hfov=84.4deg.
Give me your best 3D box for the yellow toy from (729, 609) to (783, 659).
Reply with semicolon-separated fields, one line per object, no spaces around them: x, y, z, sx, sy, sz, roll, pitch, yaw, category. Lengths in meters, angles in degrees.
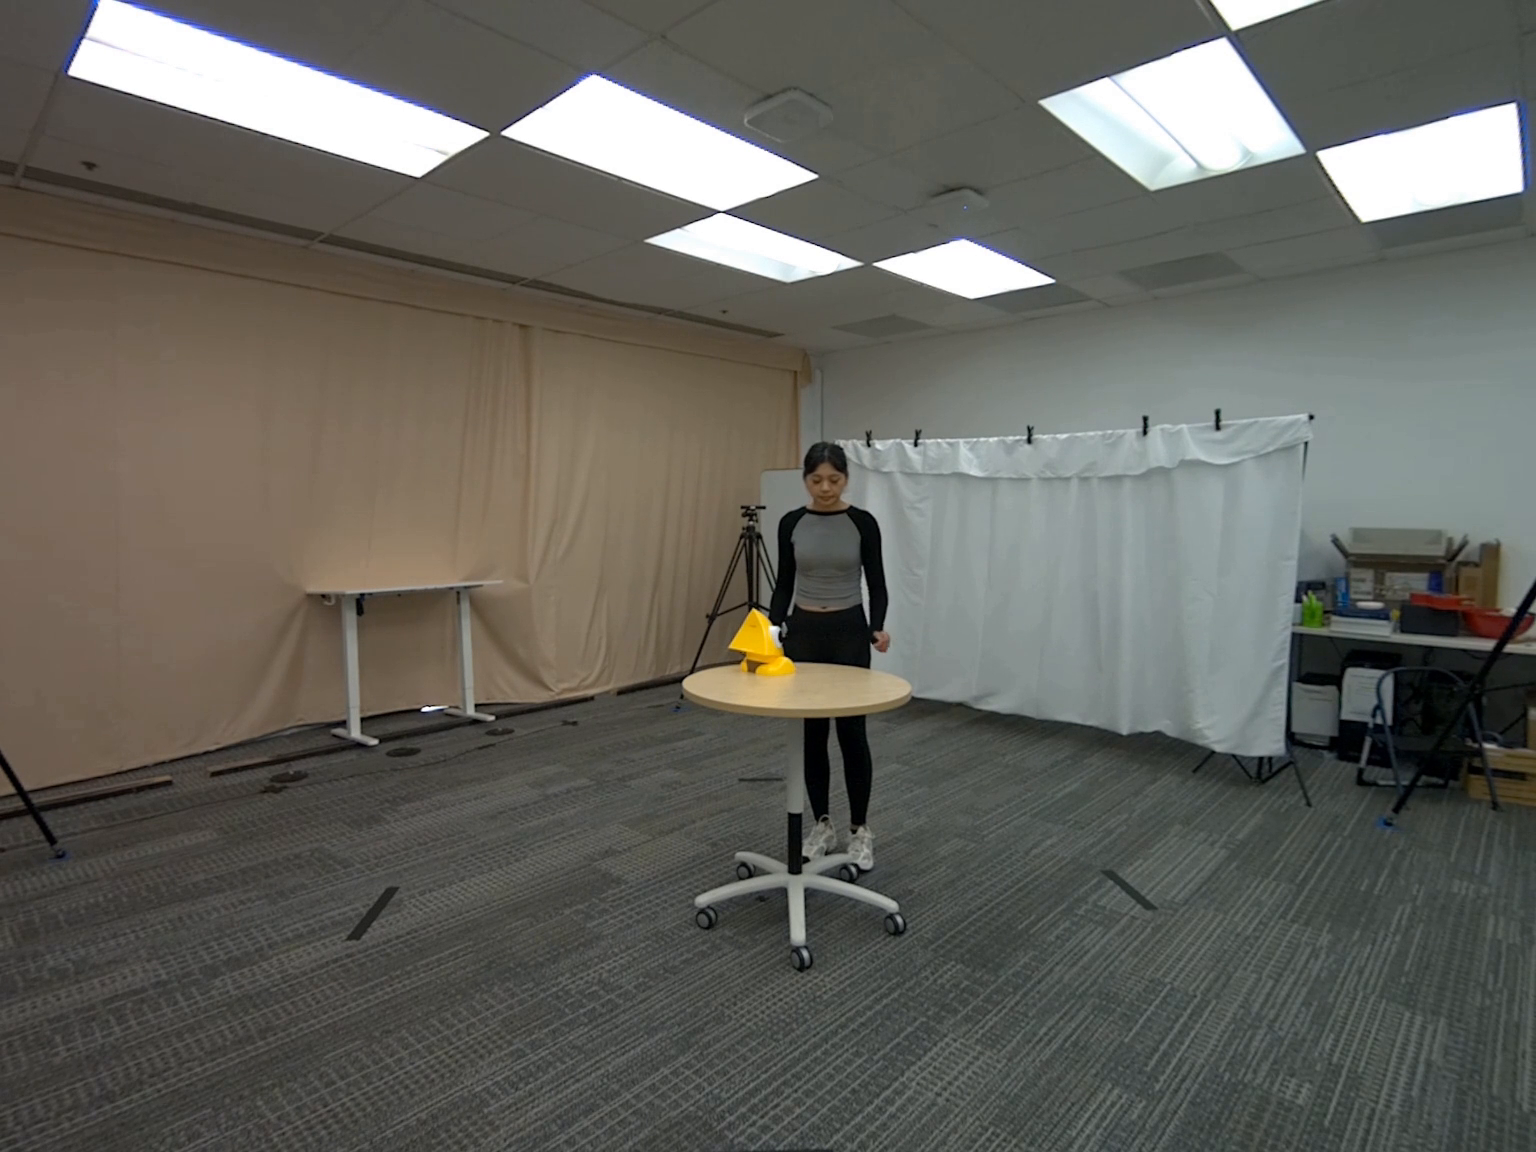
-0.005;0.231;3.070;0.187;0.230;0.211;-2;3;-41;yellow toy
